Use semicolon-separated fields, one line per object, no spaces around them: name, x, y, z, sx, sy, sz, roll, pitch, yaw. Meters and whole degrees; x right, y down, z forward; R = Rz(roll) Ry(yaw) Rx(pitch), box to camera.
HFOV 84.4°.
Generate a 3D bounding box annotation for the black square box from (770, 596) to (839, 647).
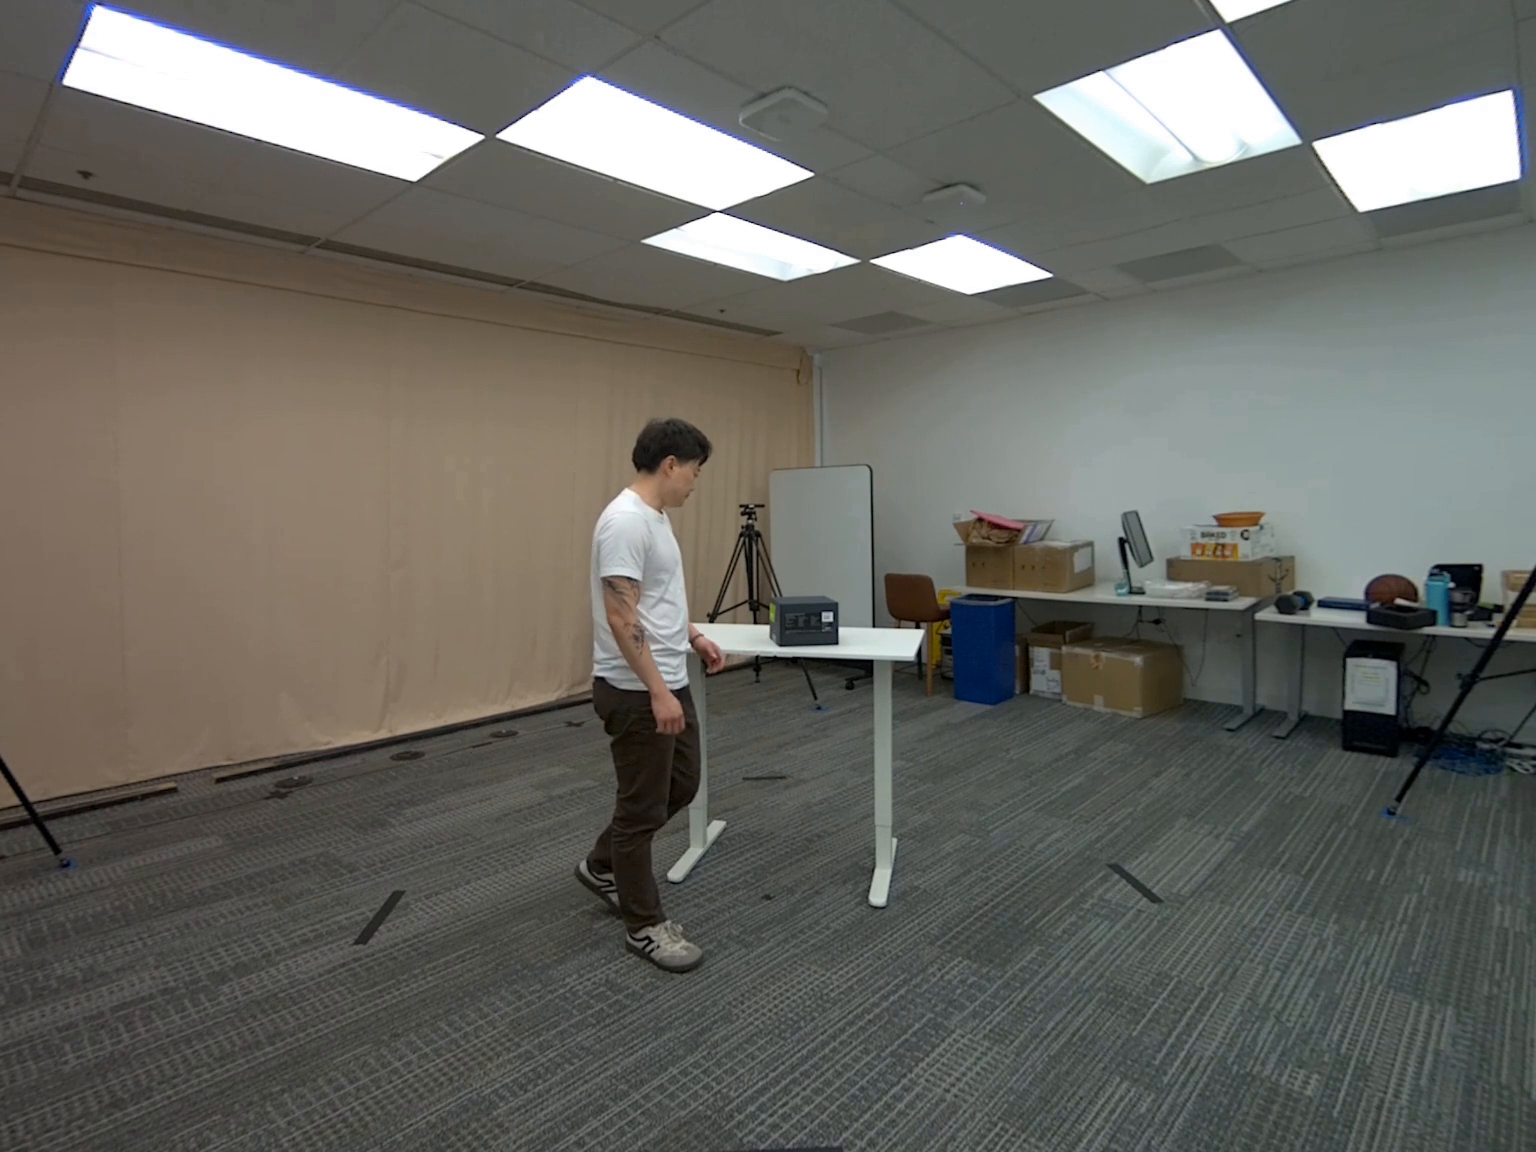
black square box;0.131;0.164;3.129;0.216;0.155;0.229;-2;4;-4
